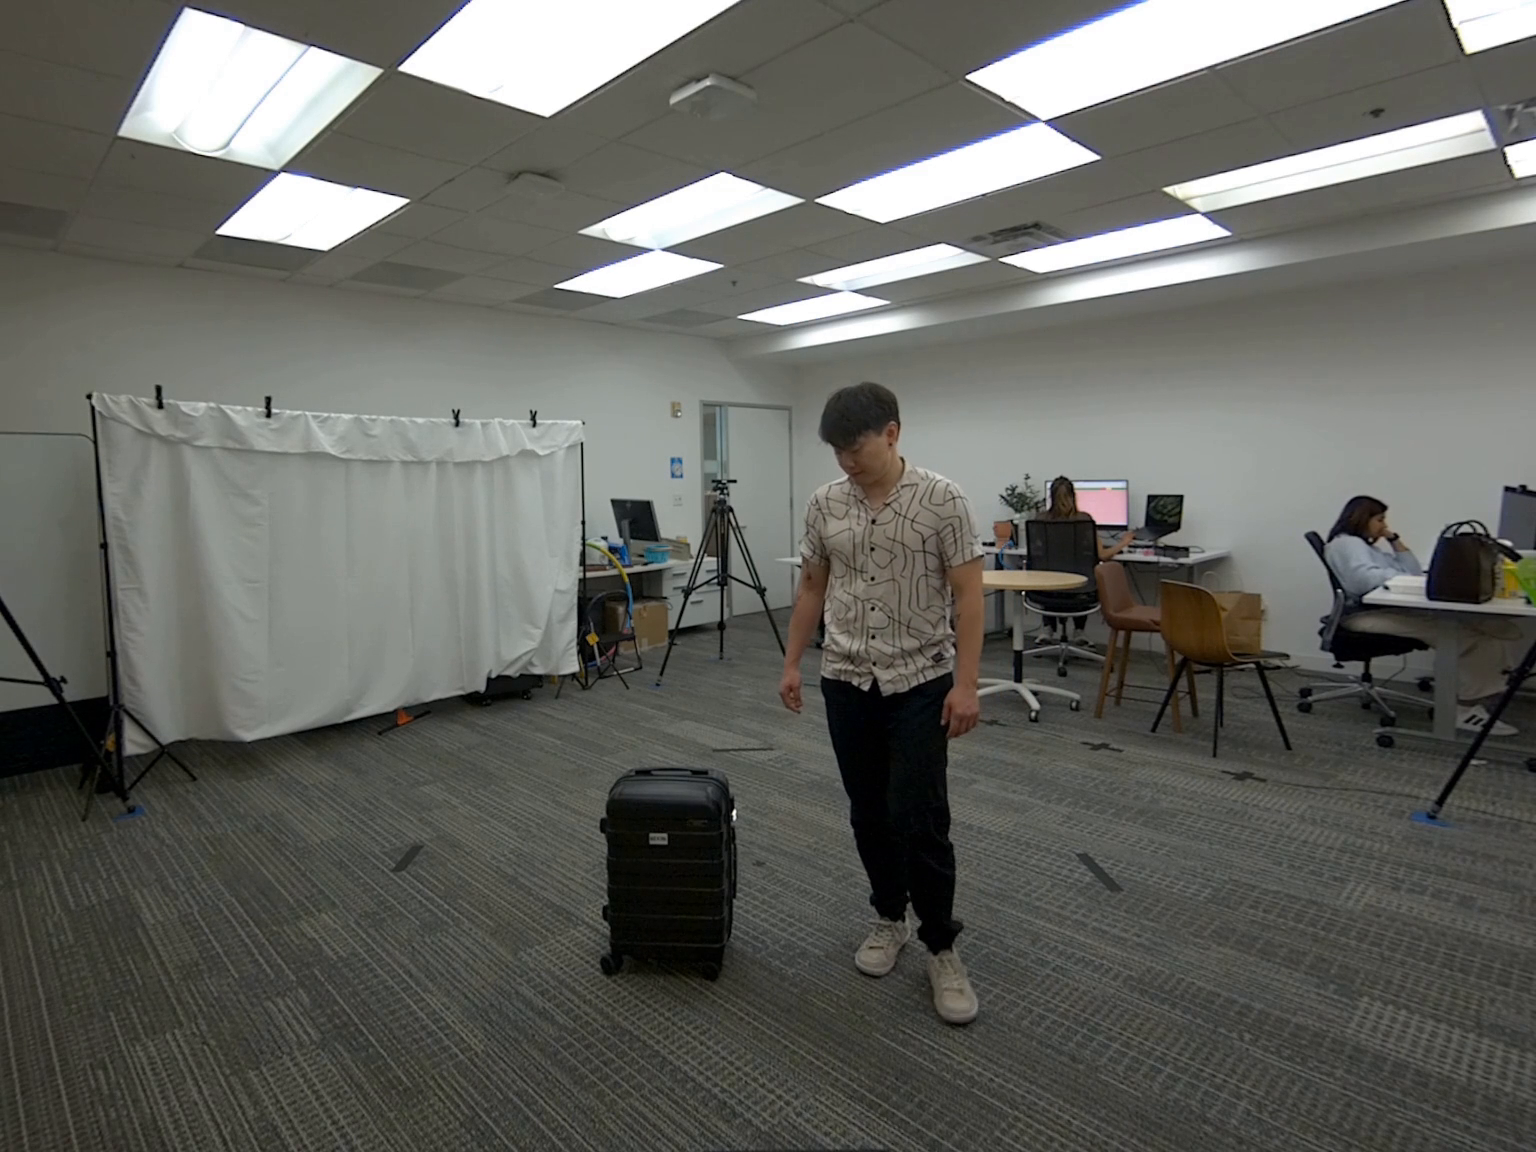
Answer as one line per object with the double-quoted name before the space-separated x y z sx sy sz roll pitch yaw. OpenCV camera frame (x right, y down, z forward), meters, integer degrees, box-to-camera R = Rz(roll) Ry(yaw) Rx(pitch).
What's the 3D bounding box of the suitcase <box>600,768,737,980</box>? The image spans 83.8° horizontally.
"suitcase" -0.280 0.850 2.502 0.377 0.547 0.248 1 5 5
